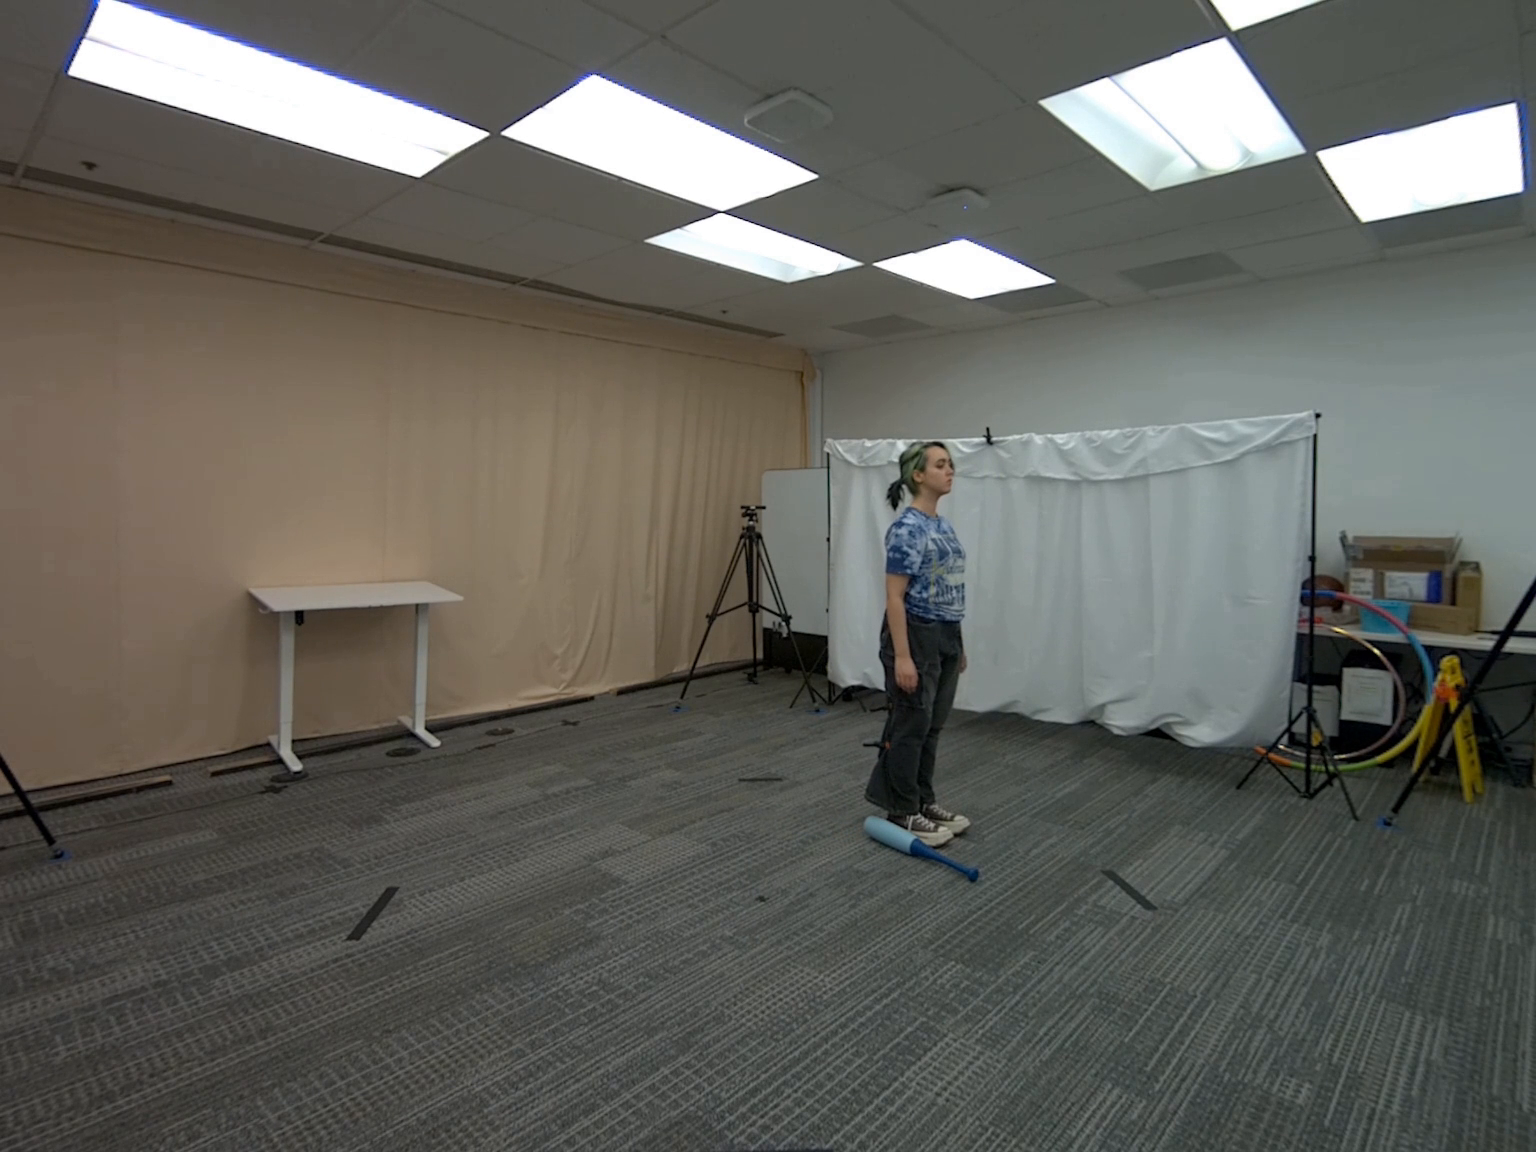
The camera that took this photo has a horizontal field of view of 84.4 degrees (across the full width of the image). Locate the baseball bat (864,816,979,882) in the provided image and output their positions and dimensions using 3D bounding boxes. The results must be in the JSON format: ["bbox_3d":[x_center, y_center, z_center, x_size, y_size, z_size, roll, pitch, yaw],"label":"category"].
[{"bbox_3d":[0.601,1.079,3.333,0.086,0.089,0.562,-3,8,-39],"label":"baseball bat"}]
